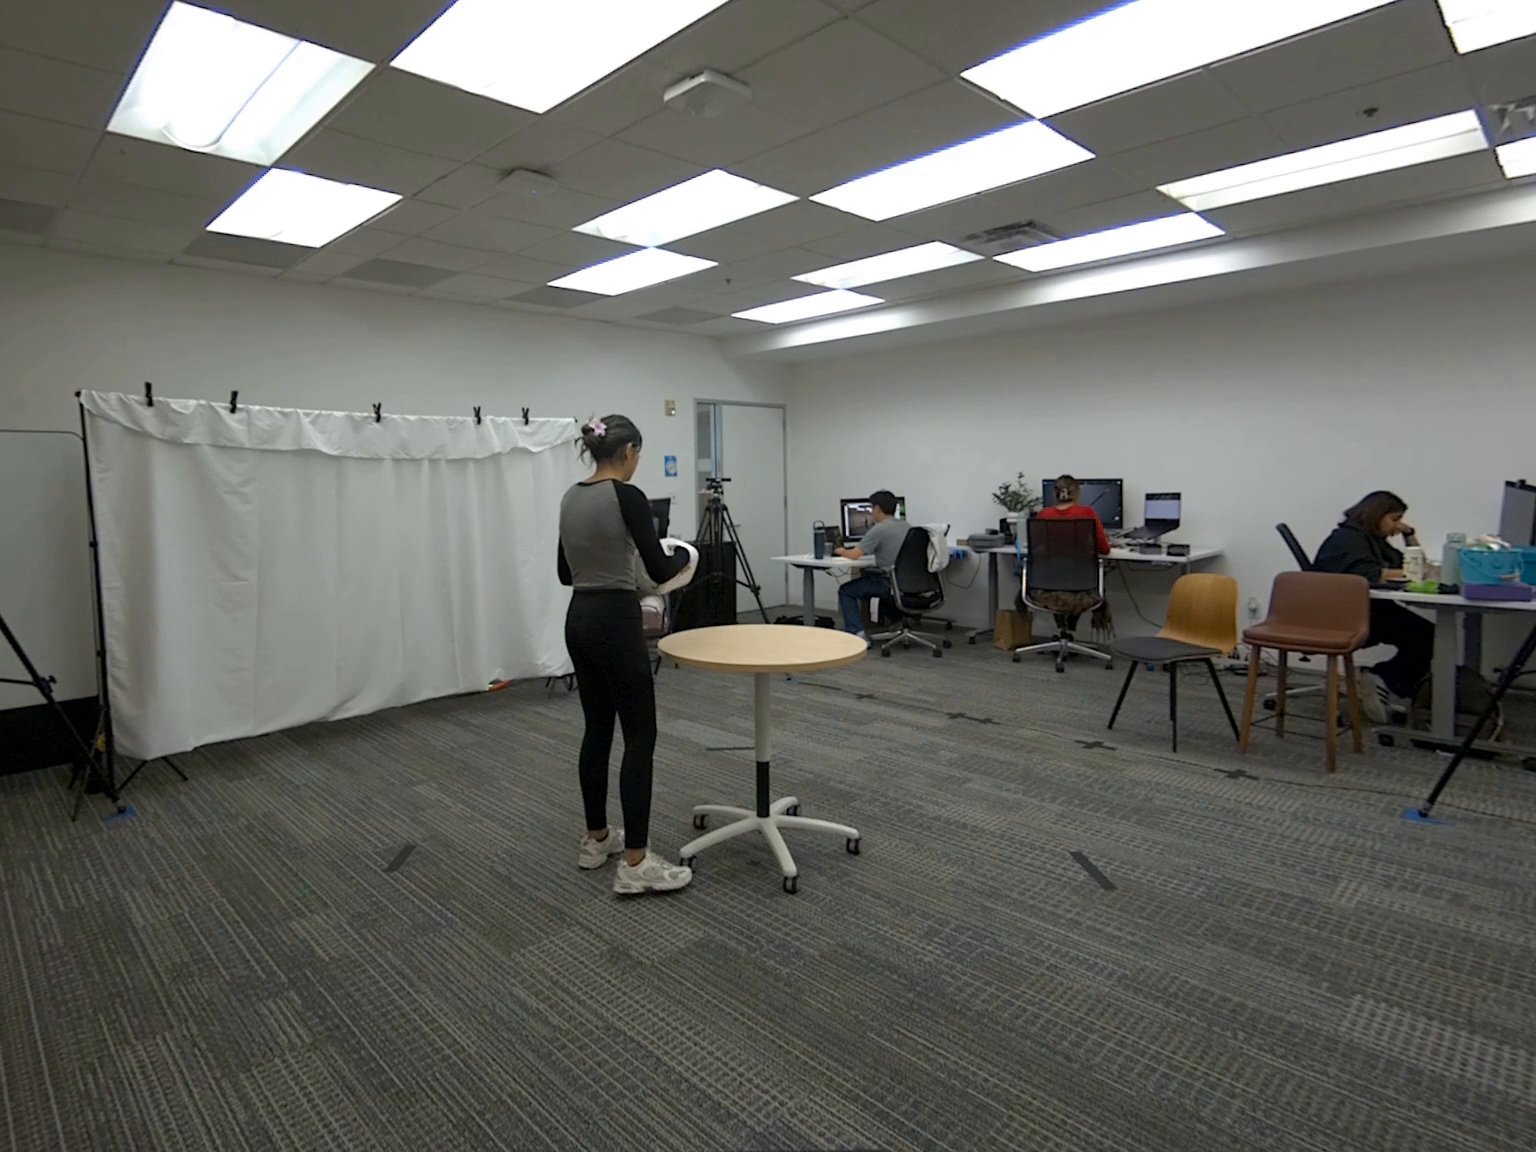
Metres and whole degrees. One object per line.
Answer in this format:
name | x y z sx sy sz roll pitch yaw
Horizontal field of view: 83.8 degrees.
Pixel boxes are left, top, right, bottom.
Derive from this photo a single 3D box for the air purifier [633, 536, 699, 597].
air purifier | -0.402 -0.041 3.284 0.175 0.170 0.262 20 14 16
